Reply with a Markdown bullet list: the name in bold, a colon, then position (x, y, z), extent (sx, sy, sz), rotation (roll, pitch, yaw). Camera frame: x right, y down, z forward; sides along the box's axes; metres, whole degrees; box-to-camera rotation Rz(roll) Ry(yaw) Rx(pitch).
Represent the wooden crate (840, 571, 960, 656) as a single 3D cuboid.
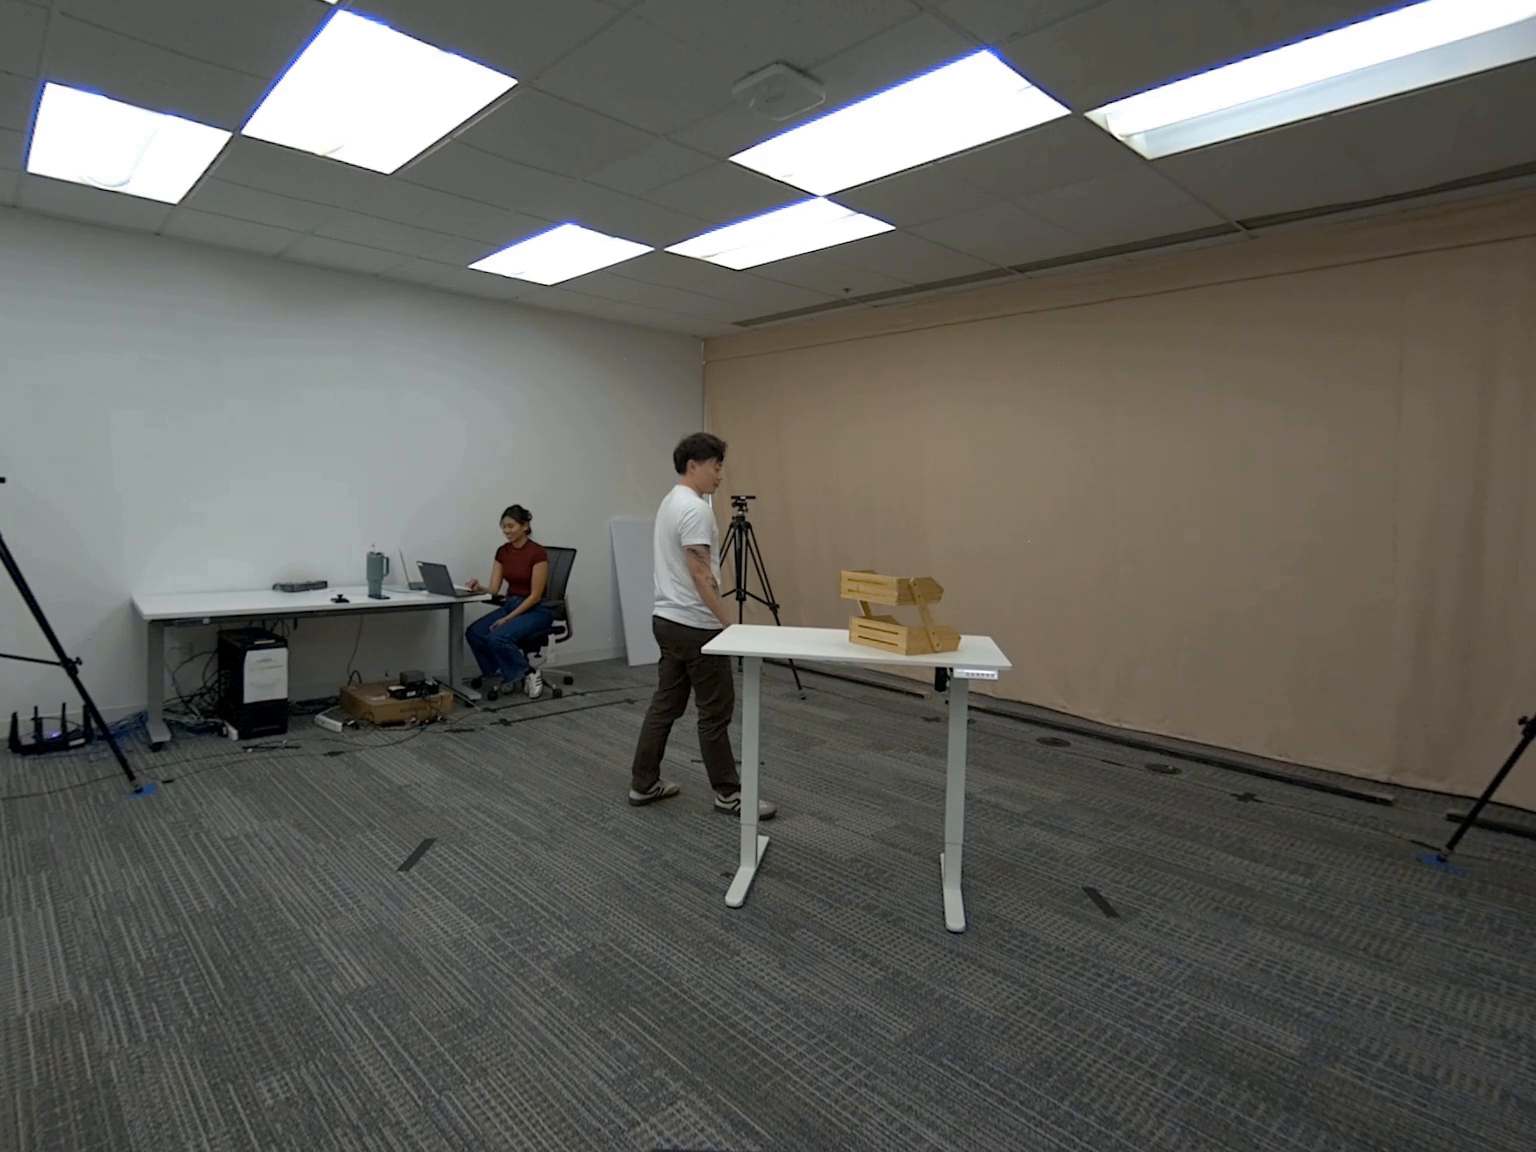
- **wooden crate**: position (0.456, 0.116, 2.949), extent (0.296, 0.272, 0.332), rotation (-2, 5, -33)
